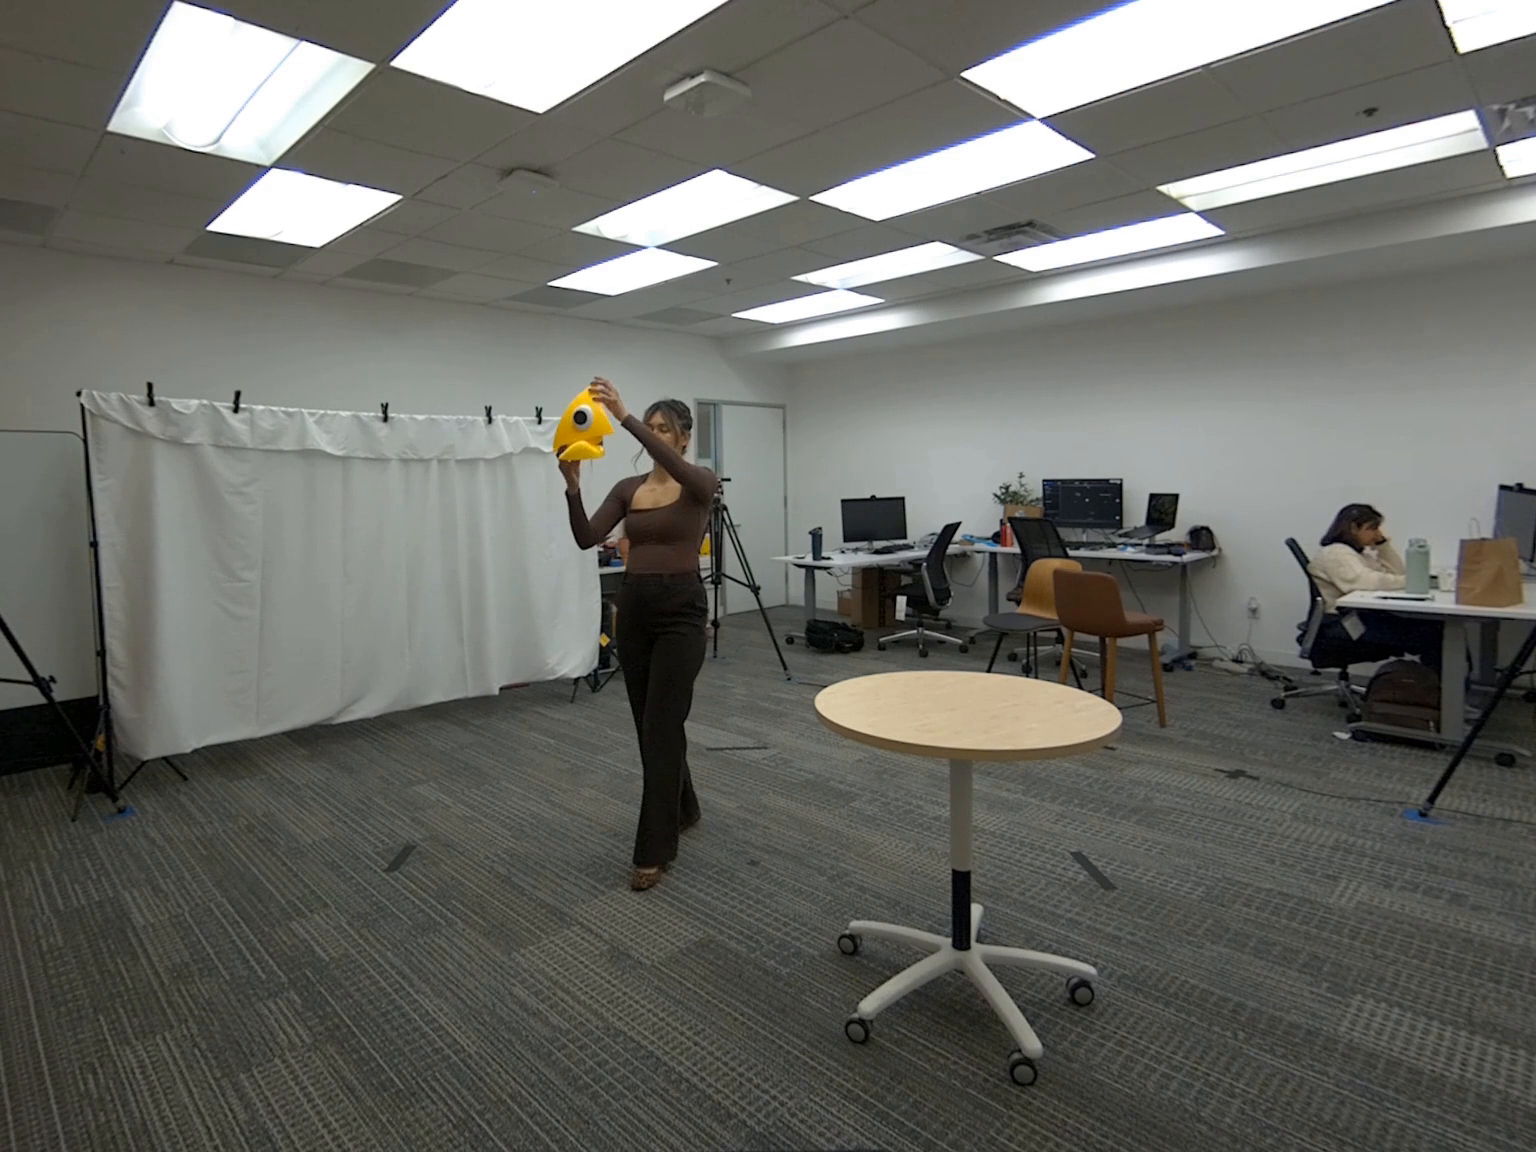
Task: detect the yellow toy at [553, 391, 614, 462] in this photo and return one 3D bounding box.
[{"bbox_3d":[-0.615,-0.518,2.818,0.190,0.227,0.212,-8,20,-22],"label":"yellow toy"}]
